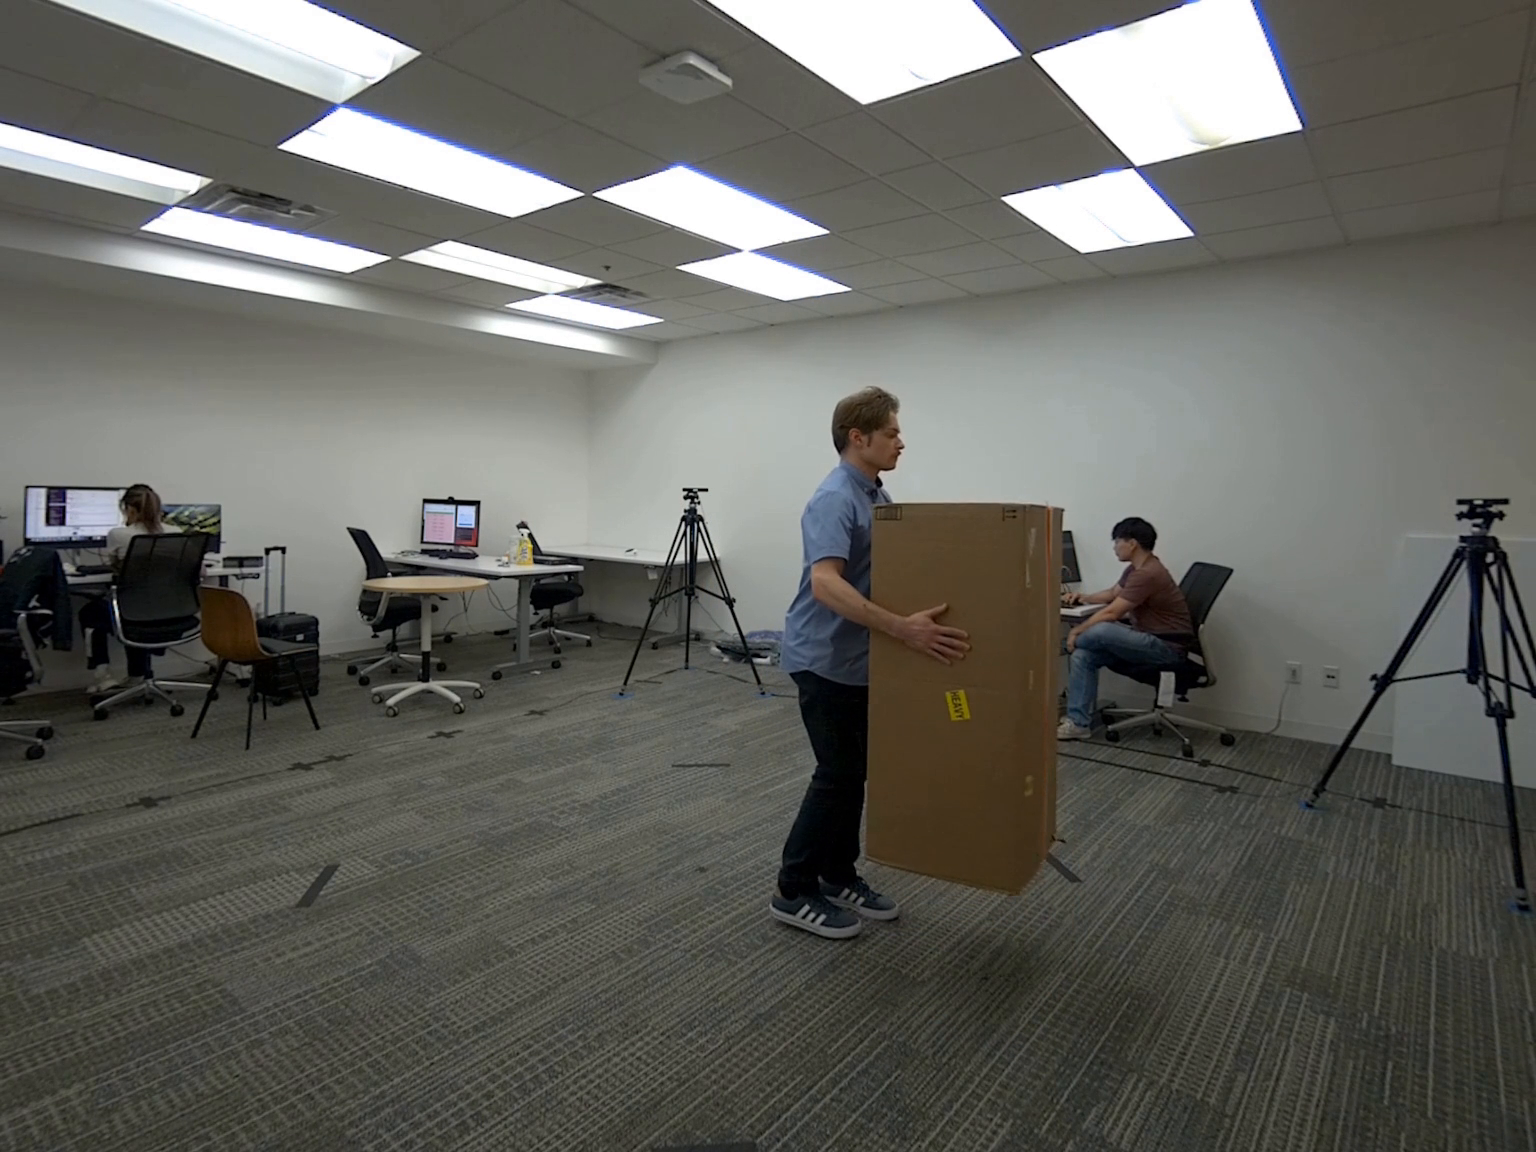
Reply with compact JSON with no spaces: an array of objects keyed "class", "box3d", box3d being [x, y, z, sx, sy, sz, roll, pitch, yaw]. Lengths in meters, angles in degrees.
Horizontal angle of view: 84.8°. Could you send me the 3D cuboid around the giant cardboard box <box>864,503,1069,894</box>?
[{"class":"giant cardboard box","box3d":[0.599,0.303,2.544,0.438,1.025,0.562,1,1,30]}]
